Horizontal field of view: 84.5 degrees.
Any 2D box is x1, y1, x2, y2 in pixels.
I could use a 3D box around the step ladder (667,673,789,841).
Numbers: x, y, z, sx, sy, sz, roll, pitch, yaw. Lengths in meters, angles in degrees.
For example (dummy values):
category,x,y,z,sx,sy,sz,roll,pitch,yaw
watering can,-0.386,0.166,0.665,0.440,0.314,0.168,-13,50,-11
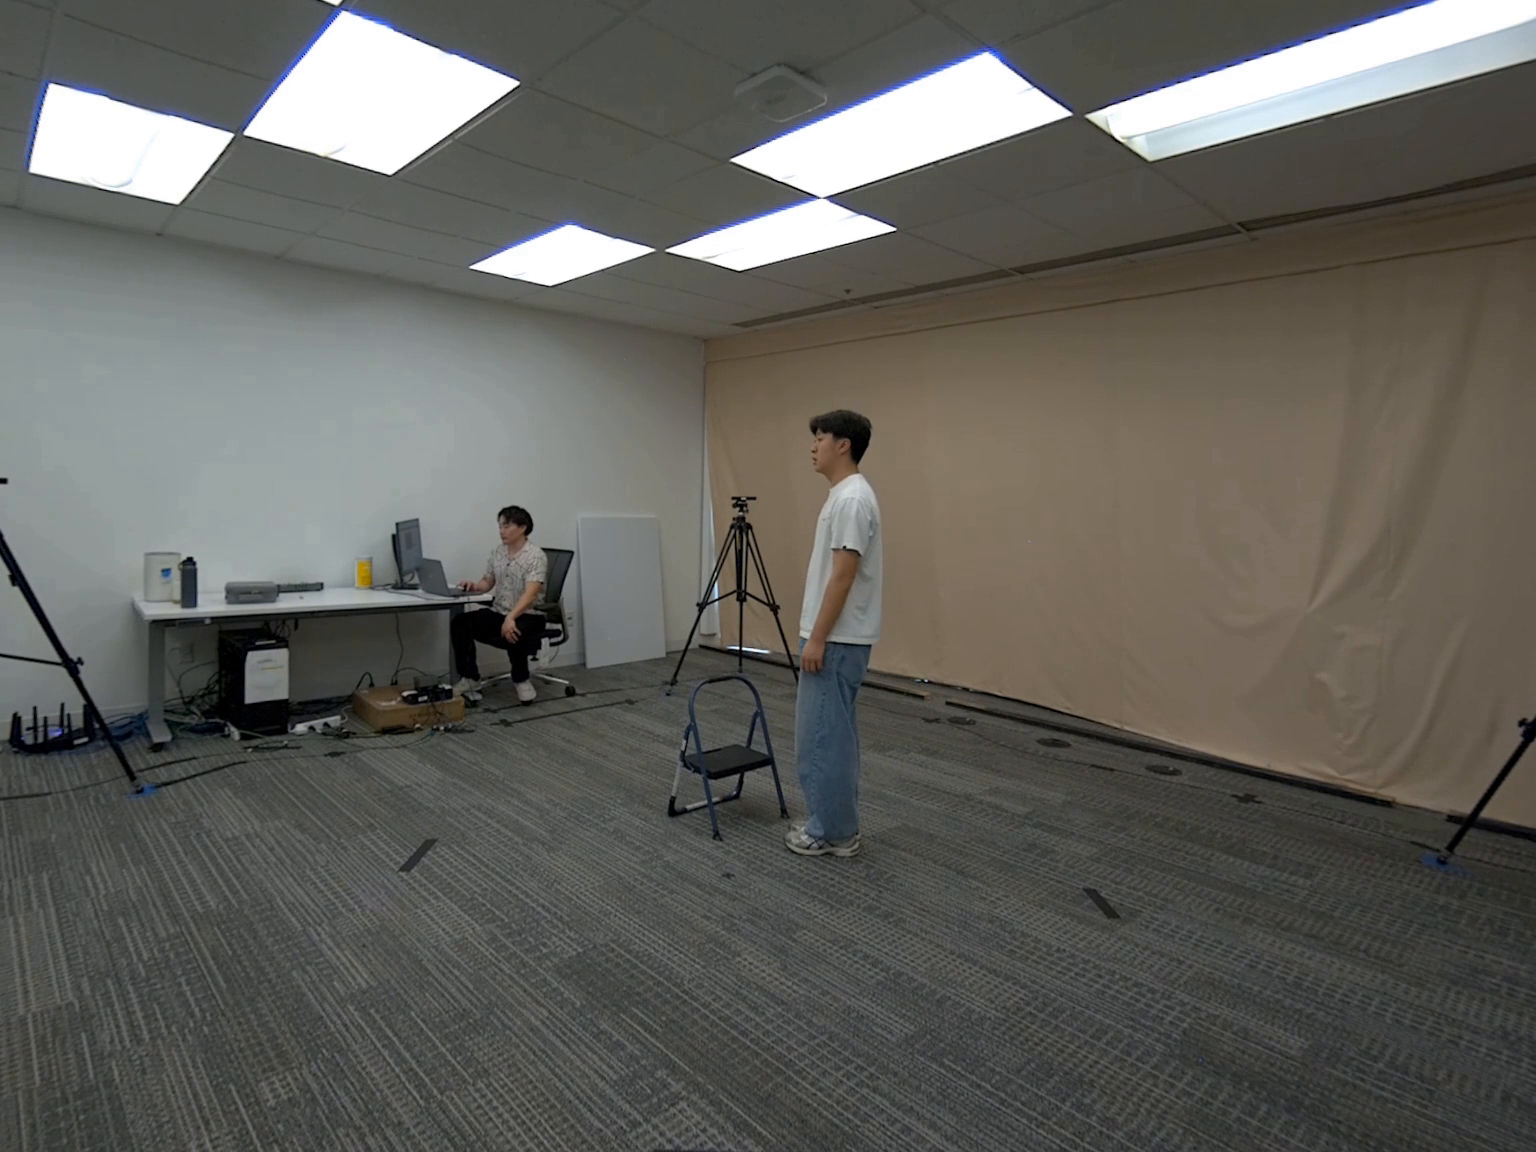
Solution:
category,x,y,z,sx,sy,sz,roll,pitch,yaw
step ladder,-0.174,0.750,3.675,0.421,0.605,0.358,-1,5,-44
